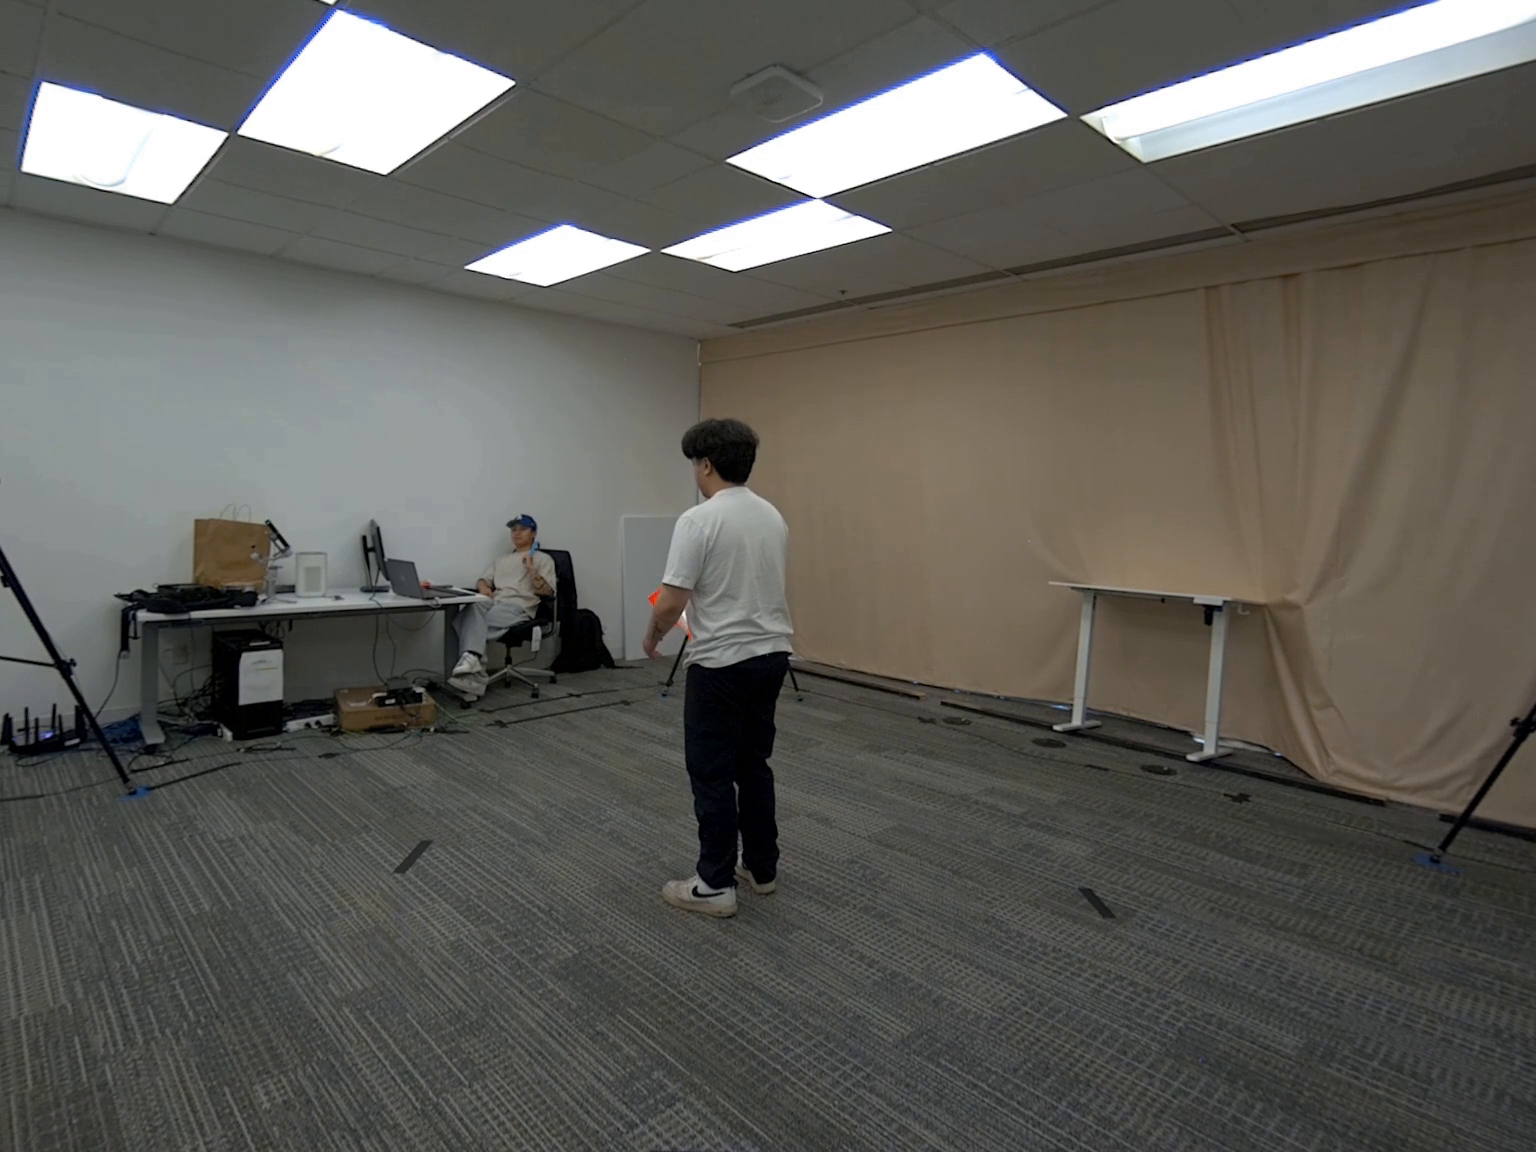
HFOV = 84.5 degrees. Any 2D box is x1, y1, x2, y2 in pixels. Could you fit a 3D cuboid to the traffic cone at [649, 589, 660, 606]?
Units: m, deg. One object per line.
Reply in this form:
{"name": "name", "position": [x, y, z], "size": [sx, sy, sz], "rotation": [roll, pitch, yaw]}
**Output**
{"name": "traffic cone", "position": [-0.323, 0.190, 3.335], "size": [0.205, 0.197, 0.394], "rotation": [-37, 32, 4]}
